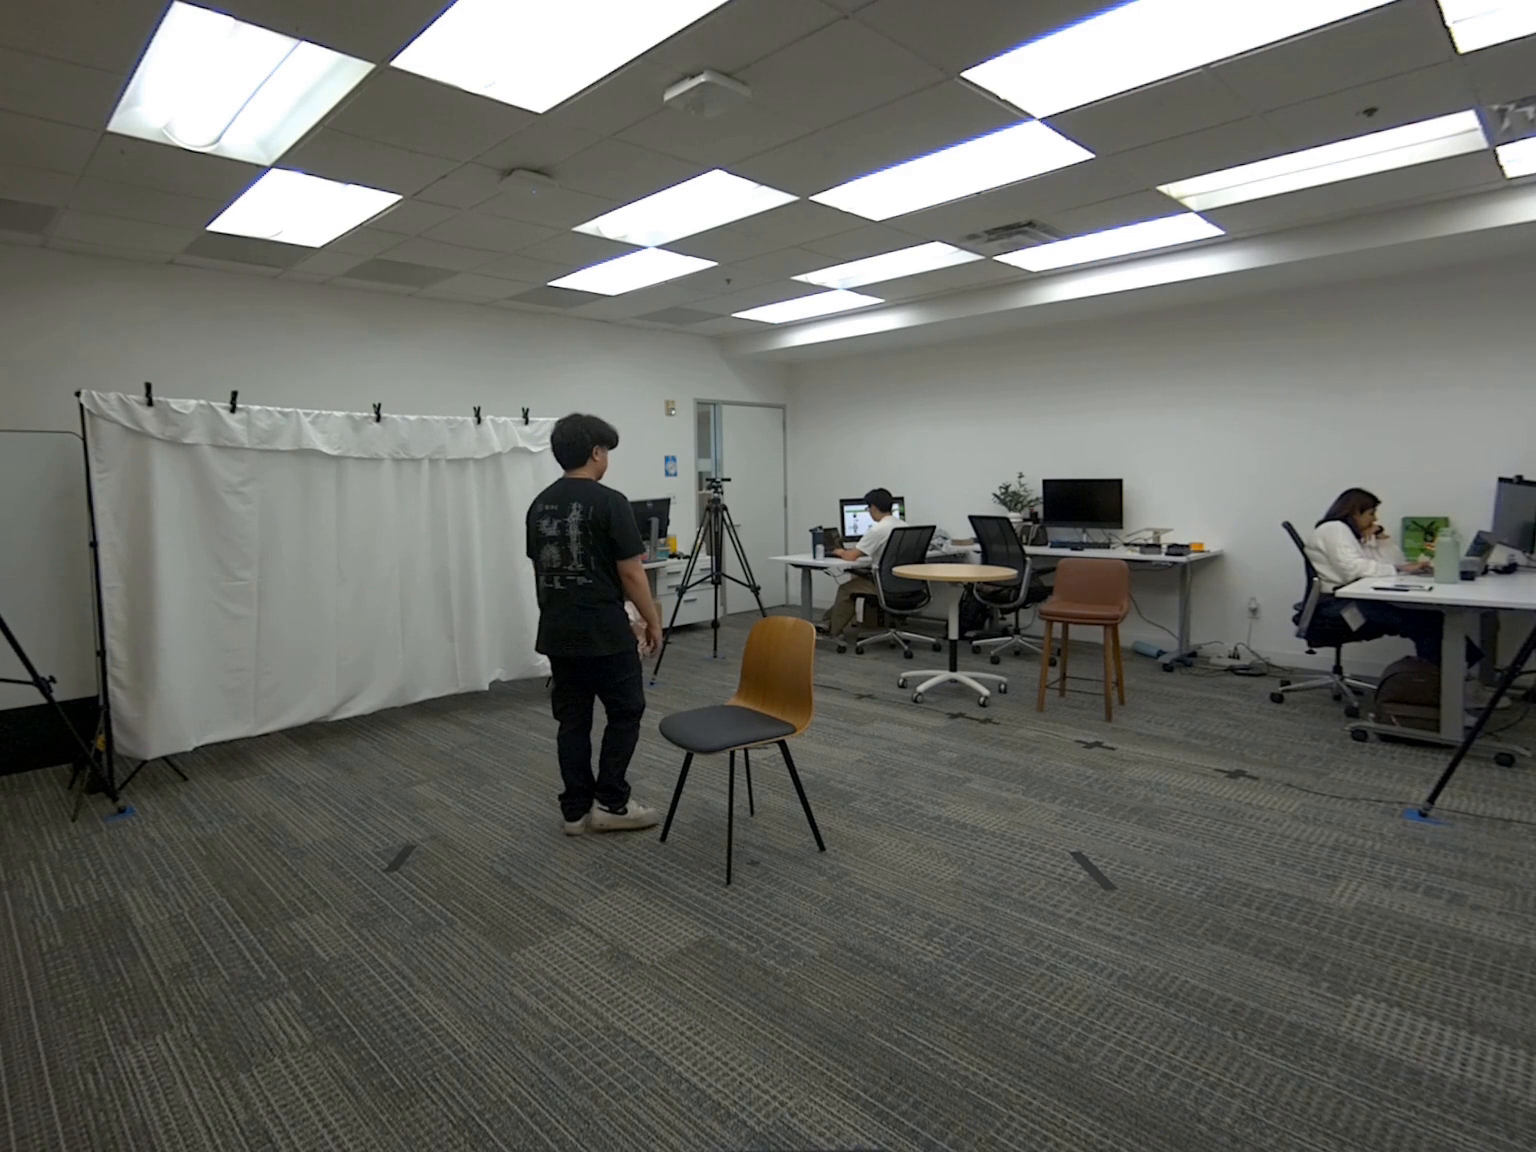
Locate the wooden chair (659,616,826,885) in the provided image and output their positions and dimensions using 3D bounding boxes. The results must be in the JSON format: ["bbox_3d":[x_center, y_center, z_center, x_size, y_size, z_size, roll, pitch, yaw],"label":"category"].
[{"bbox_3d":[-0.112,0.604,3.202,0.508,0.876,0.492,2,2,-38],"label":"wooden chair"}]
